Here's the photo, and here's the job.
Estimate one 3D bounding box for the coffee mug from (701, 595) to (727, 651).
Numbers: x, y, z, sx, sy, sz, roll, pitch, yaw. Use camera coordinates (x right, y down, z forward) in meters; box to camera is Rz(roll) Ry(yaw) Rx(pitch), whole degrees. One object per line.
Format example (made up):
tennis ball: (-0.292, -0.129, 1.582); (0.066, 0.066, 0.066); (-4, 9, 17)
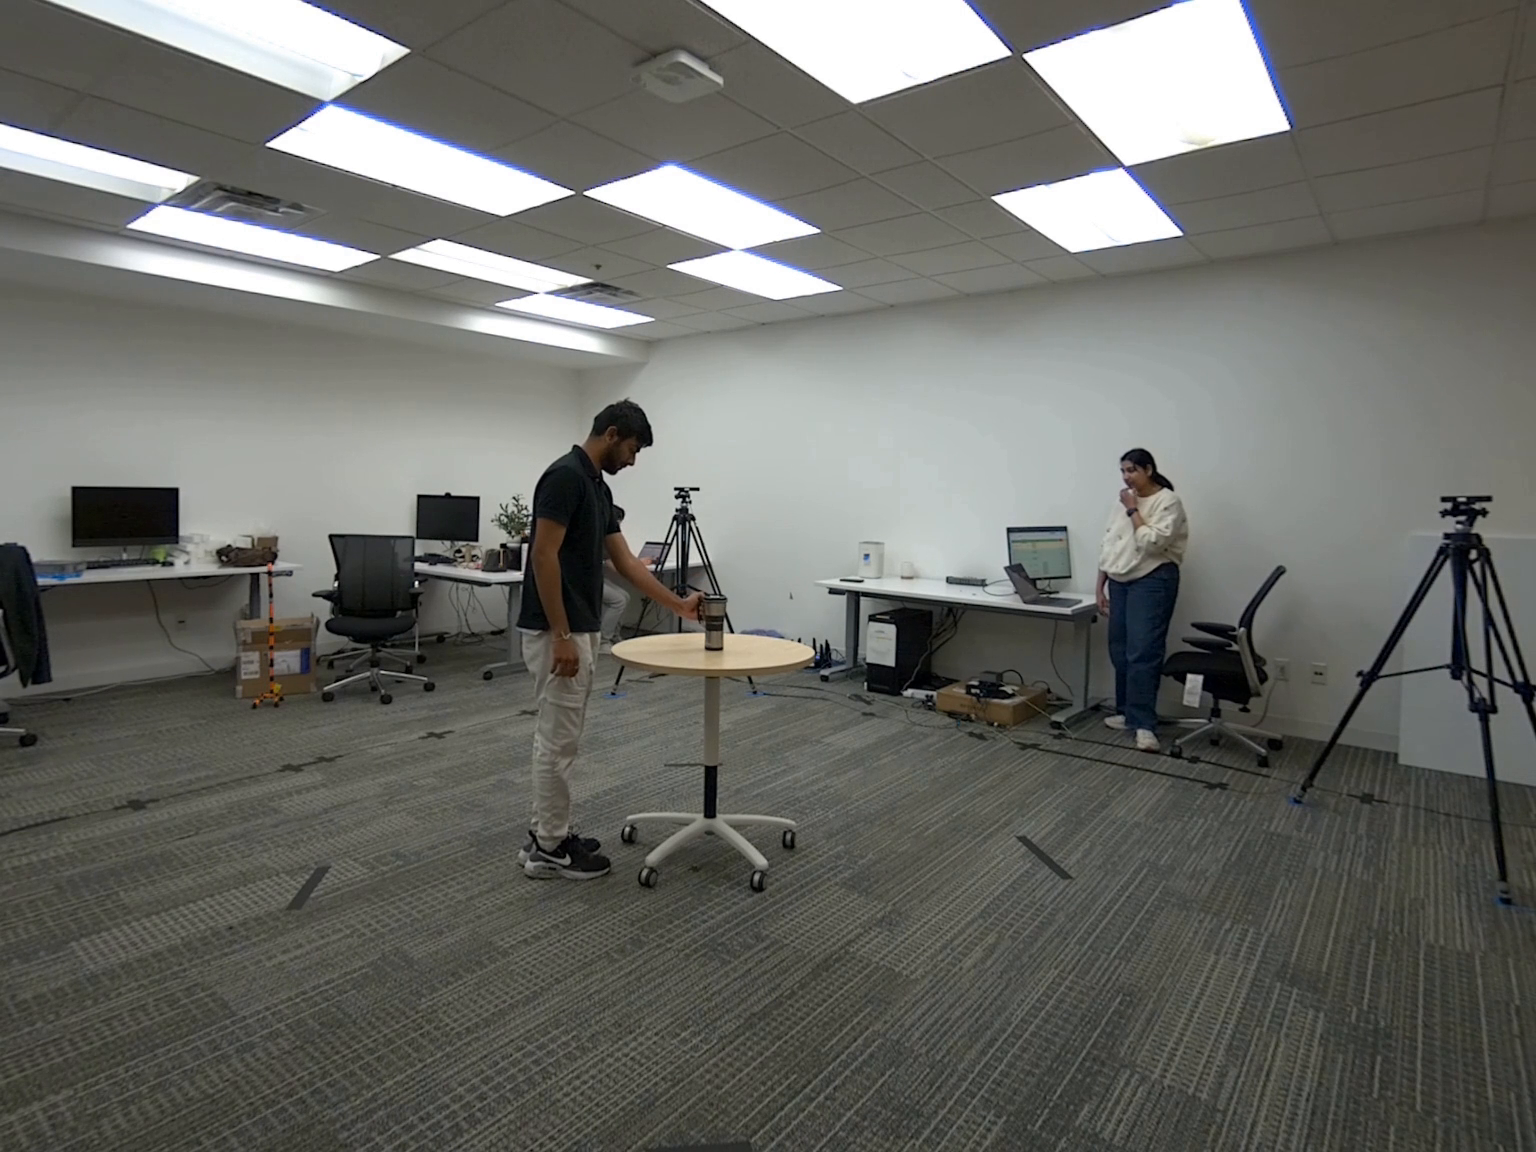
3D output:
coffee mug: (-0.226, 0.175, 3.219); (0.086, 0.201, 0.126); (-5, 10, -29)
